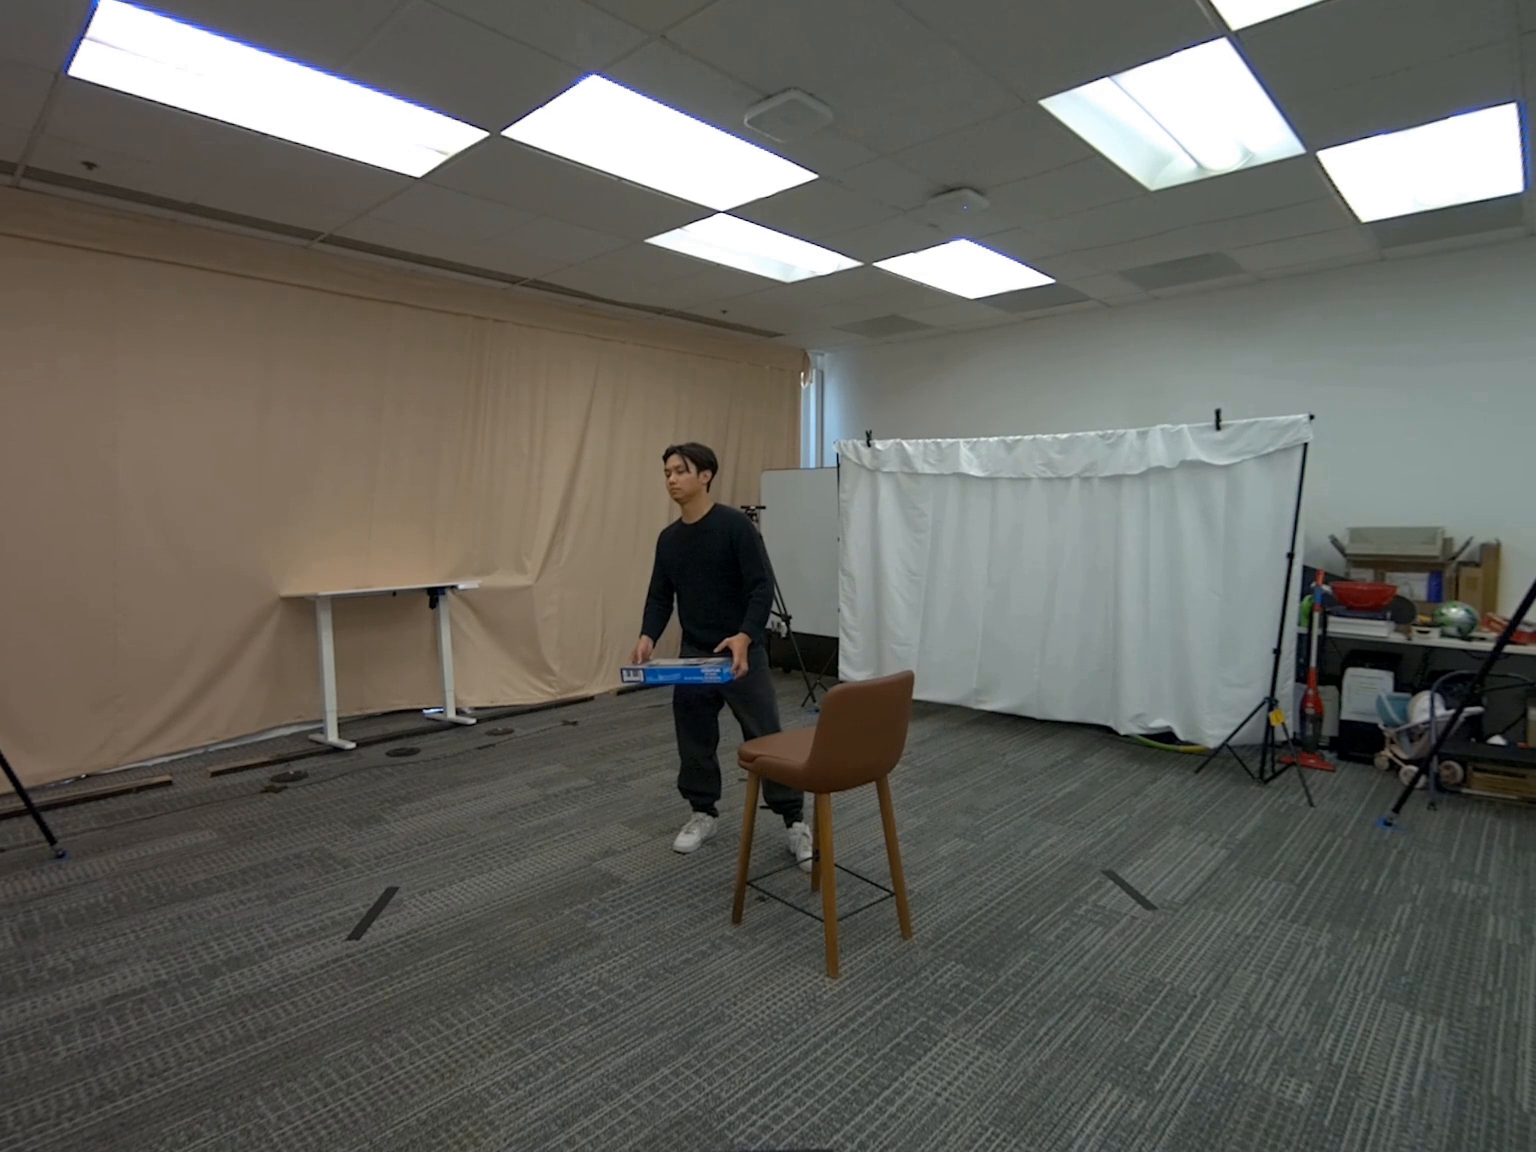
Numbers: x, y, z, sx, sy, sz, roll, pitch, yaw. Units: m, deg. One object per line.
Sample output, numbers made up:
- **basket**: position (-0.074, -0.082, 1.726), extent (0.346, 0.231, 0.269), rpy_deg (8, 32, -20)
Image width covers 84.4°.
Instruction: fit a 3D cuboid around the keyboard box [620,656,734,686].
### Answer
- **keyboard box**: position (-0.335, 0.354, 3.152), extent (0.449, 0.059, 0.171), rpy_deg (-3, 5, 32)
